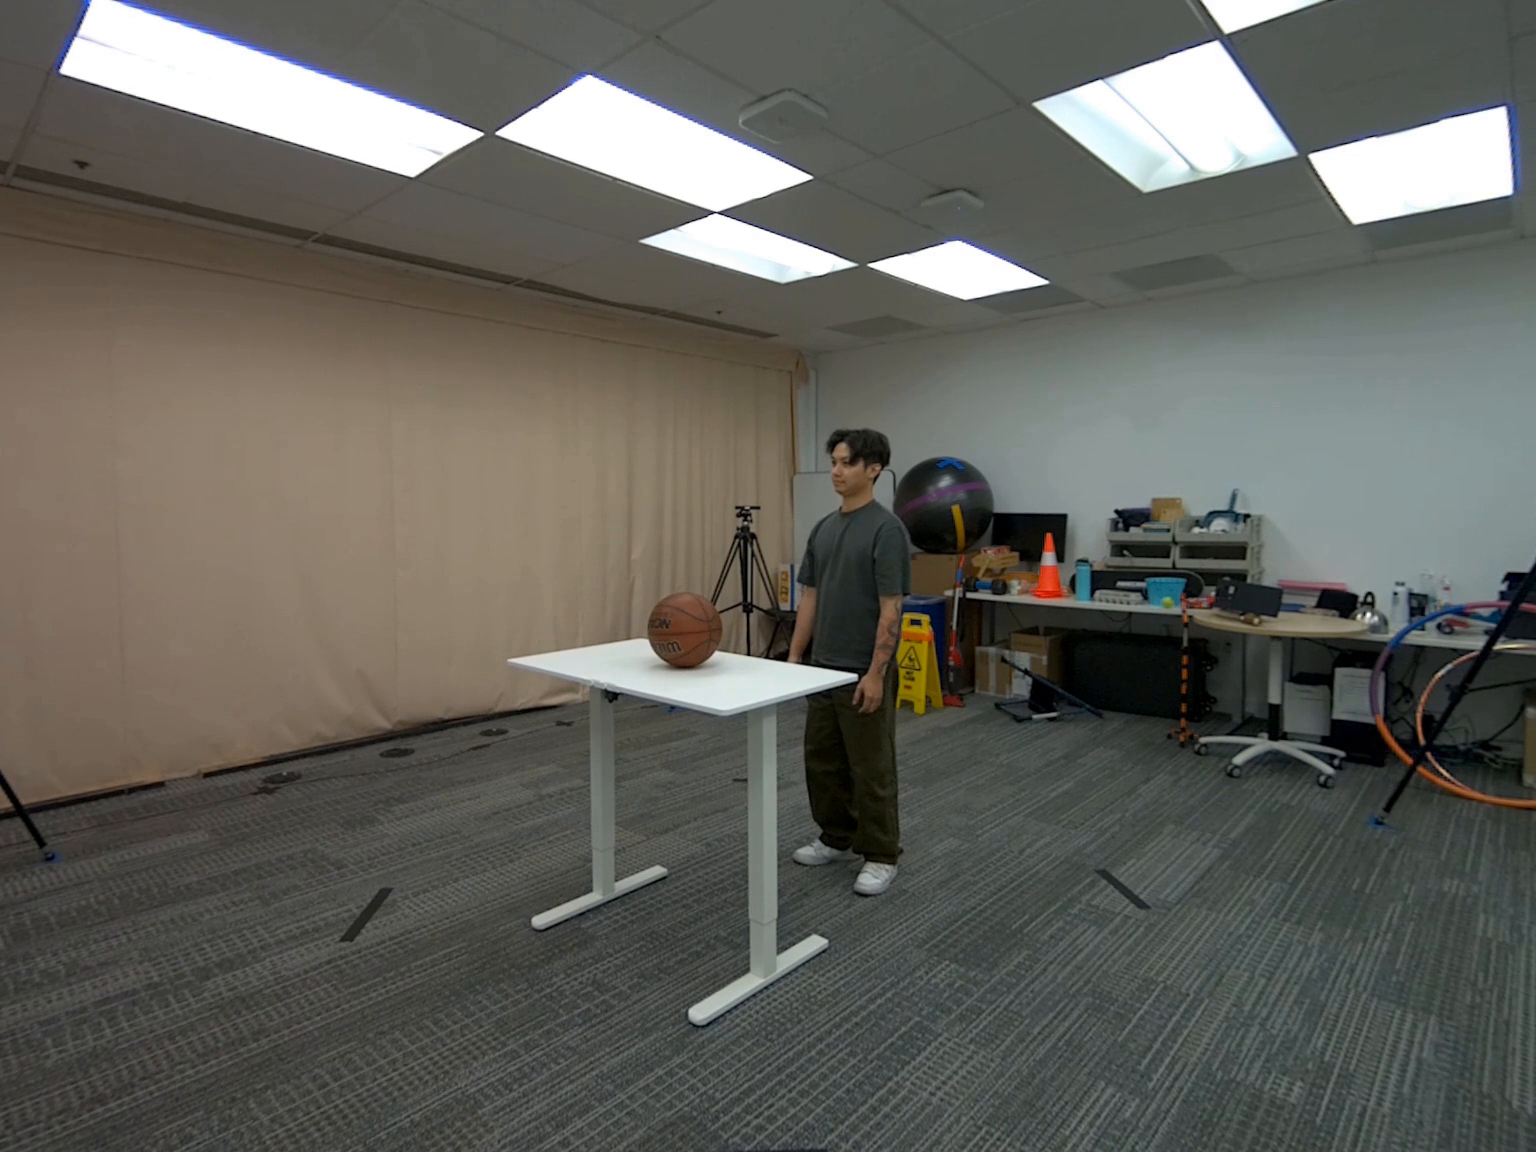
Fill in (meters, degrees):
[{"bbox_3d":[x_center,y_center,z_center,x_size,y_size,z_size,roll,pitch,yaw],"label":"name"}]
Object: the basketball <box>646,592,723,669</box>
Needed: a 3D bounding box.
[{"bbox_3d":[-0.263,0.172,2.682,0.236,0.235,0.237,0,4,-2],"label":"basketball"}]
